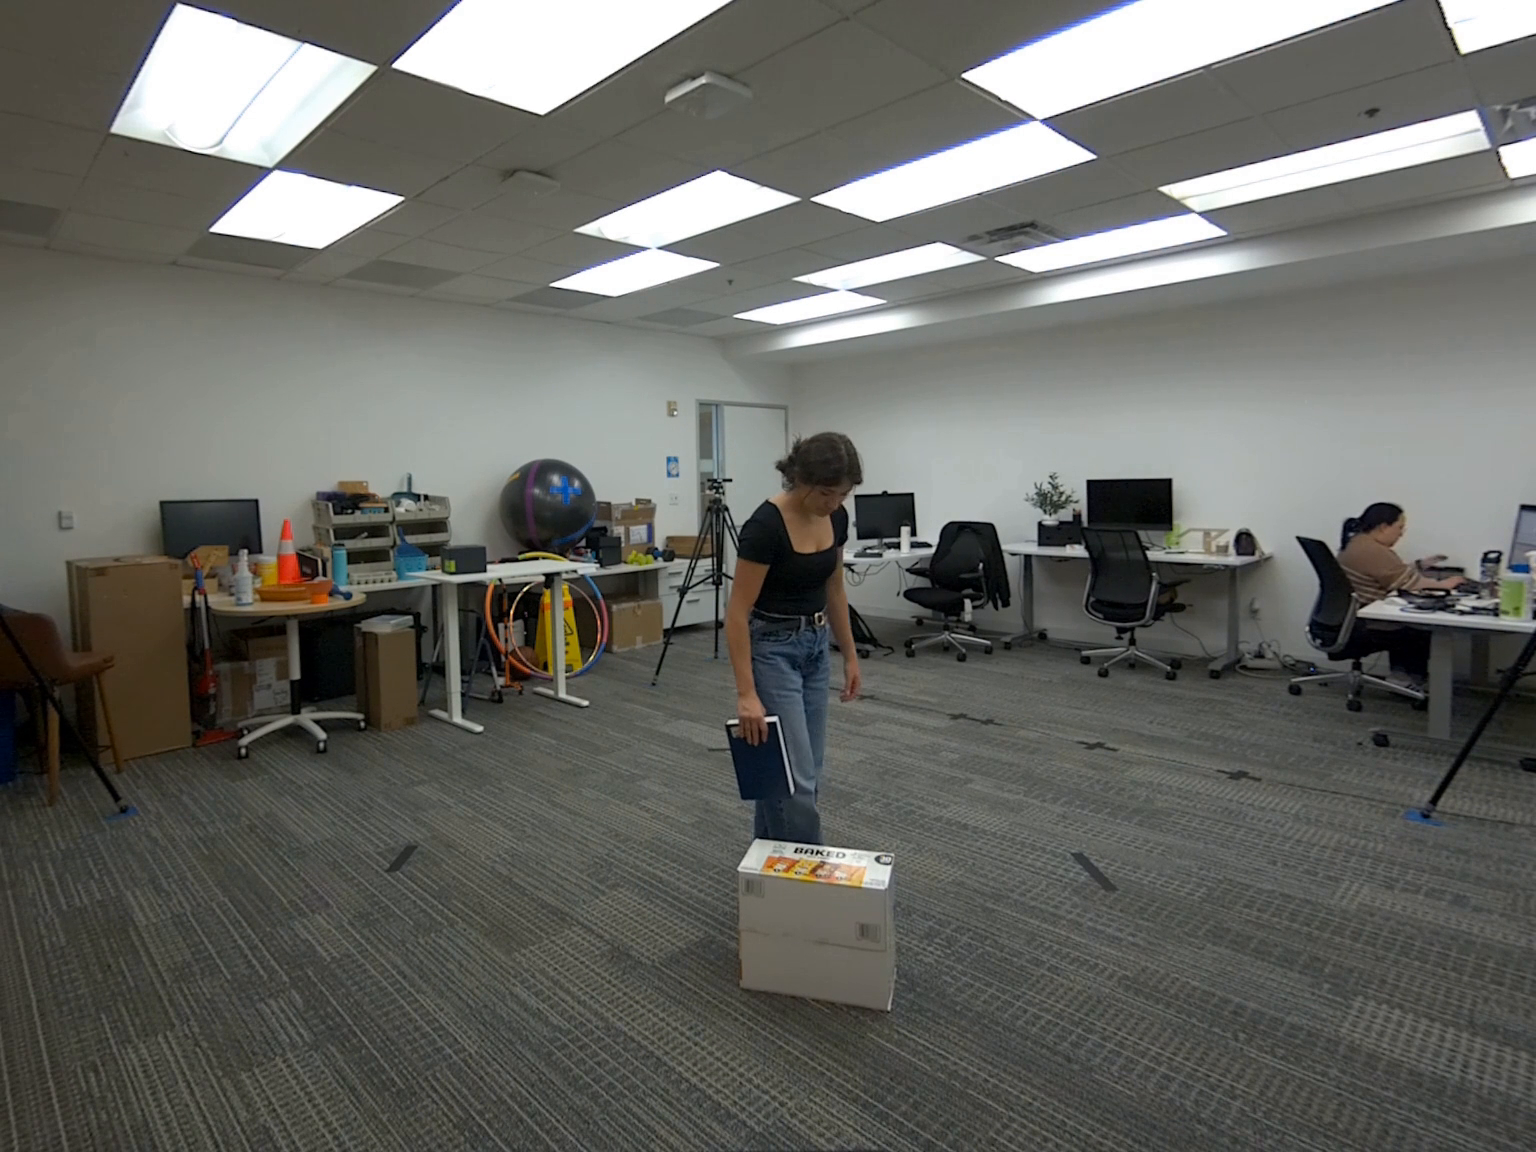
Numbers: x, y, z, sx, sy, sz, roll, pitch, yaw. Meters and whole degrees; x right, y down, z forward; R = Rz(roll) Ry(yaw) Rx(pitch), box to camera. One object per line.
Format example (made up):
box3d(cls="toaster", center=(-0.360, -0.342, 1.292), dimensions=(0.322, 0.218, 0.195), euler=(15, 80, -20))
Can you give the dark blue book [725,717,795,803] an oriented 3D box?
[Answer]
box3d(cls="dark blue book", center=(-0.013, 0.544, 2.508), dimensions=(0.166, 0.242, 0.045), euler=(-8, 10, 21))
